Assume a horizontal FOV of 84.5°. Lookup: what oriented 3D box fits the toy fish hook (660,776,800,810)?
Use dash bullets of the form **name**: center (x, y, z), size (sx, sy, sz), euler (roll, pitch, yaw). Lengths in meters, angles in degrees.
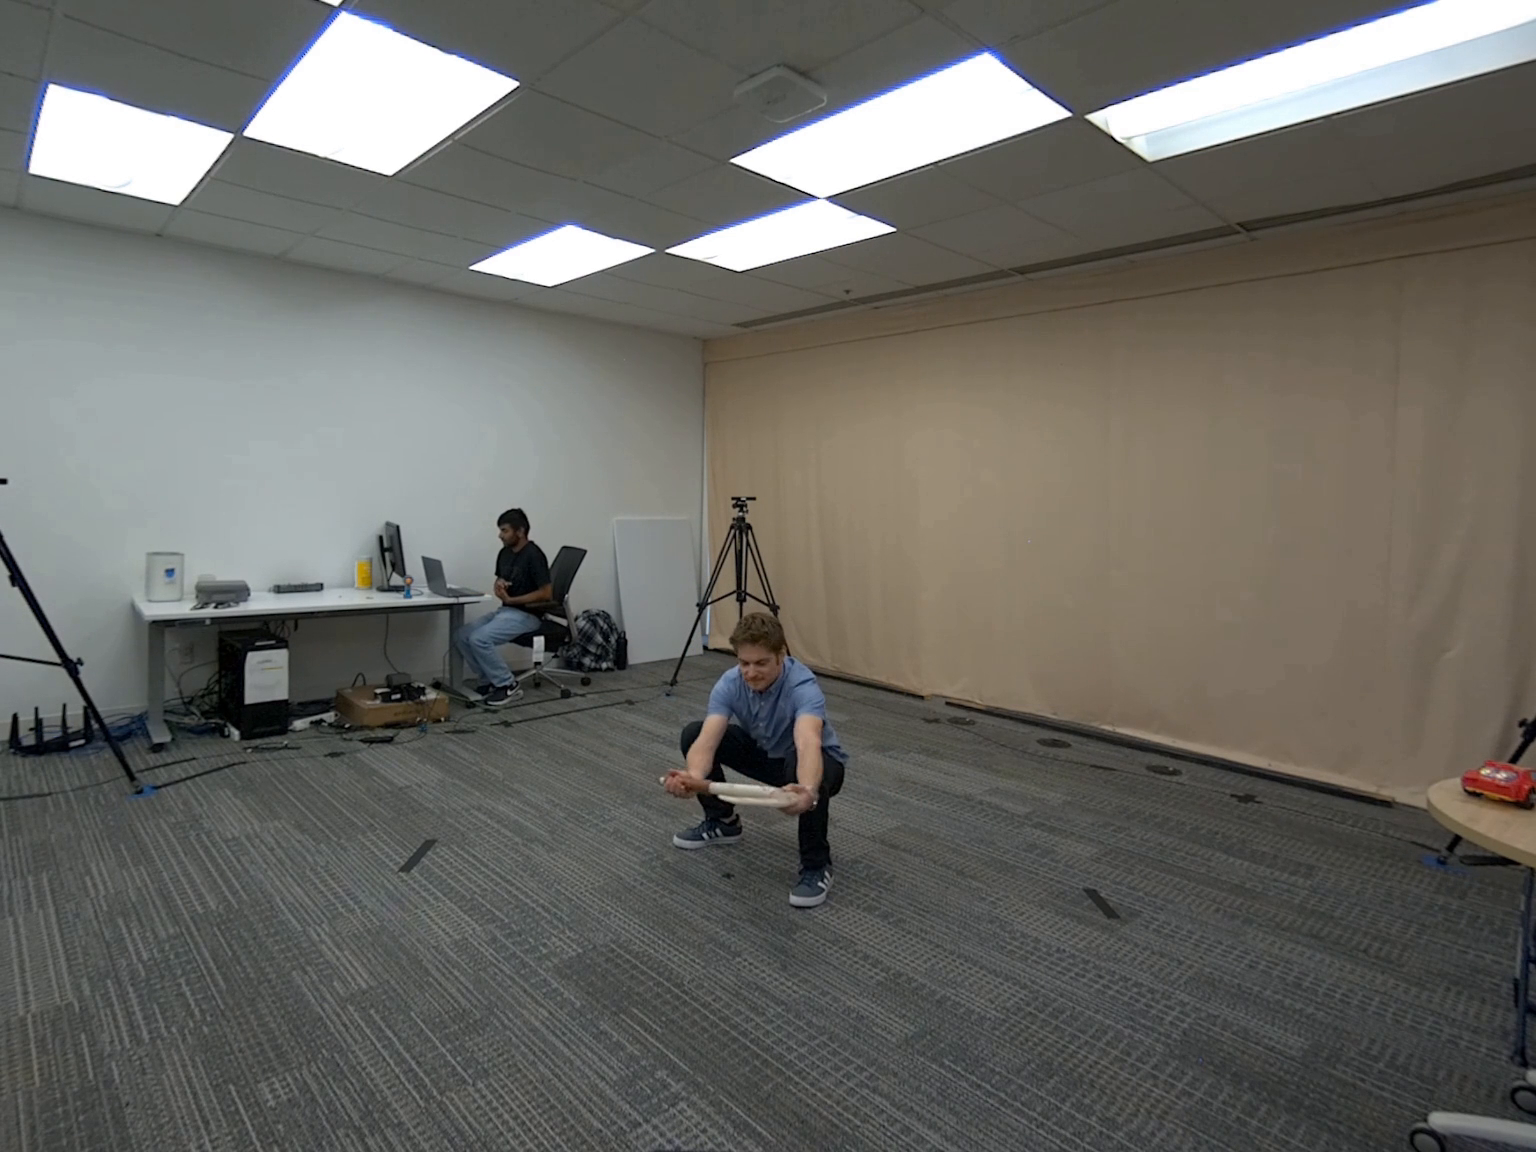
- **toy fish hook**: center (-0.144, 0.647, 2.528), size (0.516, 0.048, 0.219), euler (-2, -8, 26)
